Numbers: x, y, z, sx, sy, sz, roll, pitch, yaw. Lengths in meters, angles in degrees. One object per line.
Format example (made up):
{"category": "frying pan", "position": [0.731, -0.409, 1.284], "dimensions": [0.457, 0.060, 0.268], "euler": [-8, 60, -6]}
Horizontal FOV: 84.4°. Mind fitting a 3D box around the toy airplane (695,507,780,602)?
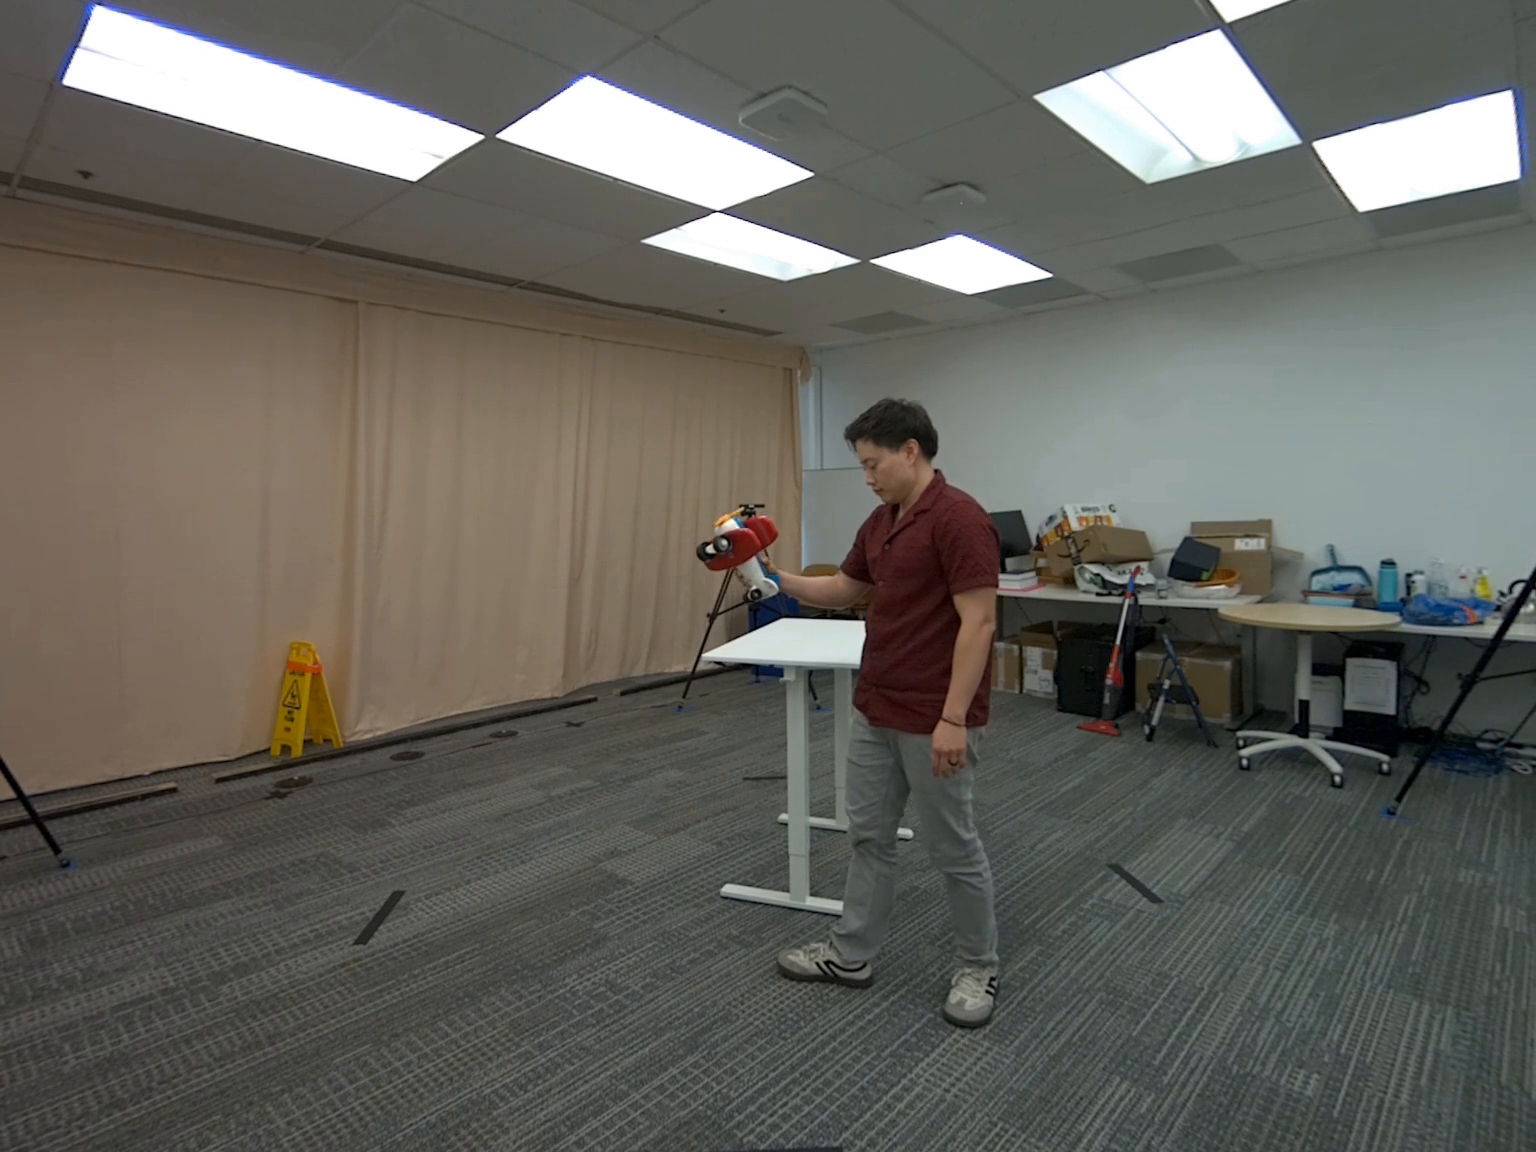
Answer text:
{"category": "toy airplane", "position": [-0.084, -0.048, 2.396], "dimensions": [0.259, 0.252, 0.155], "euler": [10, 45, 35]}
